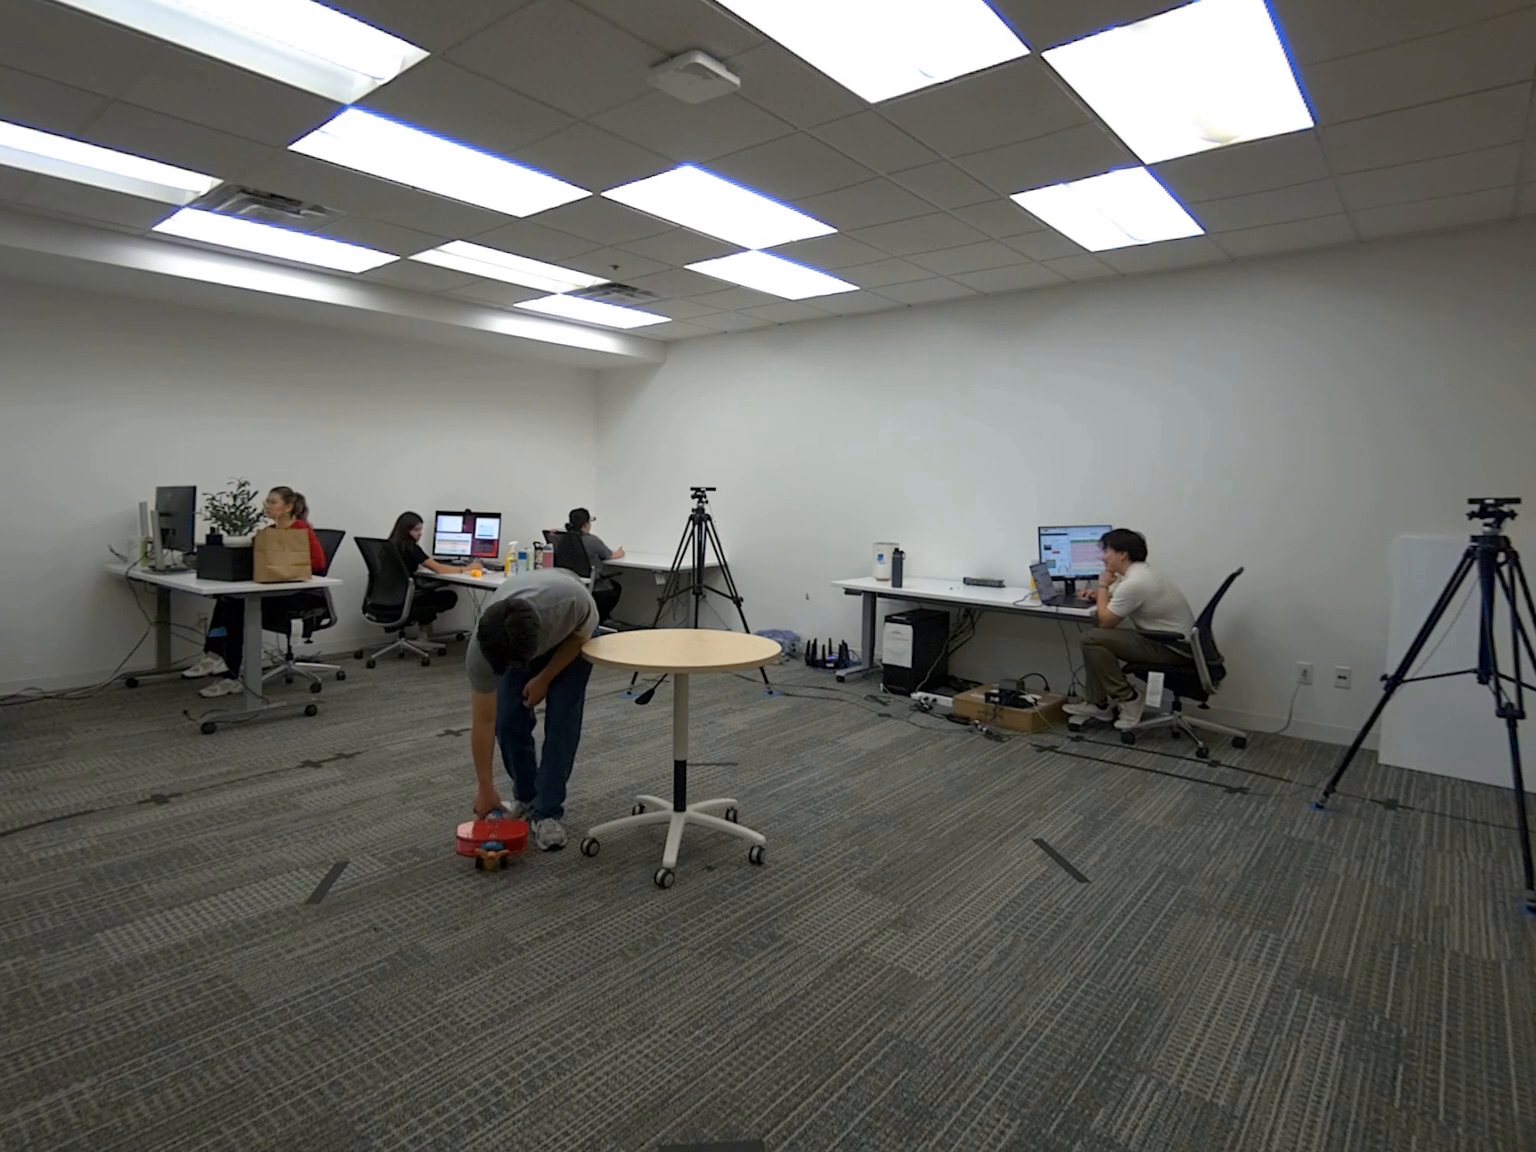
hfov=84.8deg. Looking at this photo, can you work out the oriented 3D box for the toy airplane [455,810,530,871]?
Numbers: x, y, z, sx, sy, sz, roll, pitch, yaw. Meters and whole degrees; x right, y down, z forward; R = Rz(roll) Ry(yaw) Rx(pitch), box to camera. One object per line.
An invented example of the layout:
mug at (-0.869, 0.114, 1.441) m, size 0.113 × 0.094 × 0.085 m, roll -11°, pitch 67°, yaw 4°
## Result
toy airplane at (-1.036, 0.941, 3.104) m, size 0.247 × 0.153 × 0.269 m, roll -21°, pitch 54°, yaw -31°
